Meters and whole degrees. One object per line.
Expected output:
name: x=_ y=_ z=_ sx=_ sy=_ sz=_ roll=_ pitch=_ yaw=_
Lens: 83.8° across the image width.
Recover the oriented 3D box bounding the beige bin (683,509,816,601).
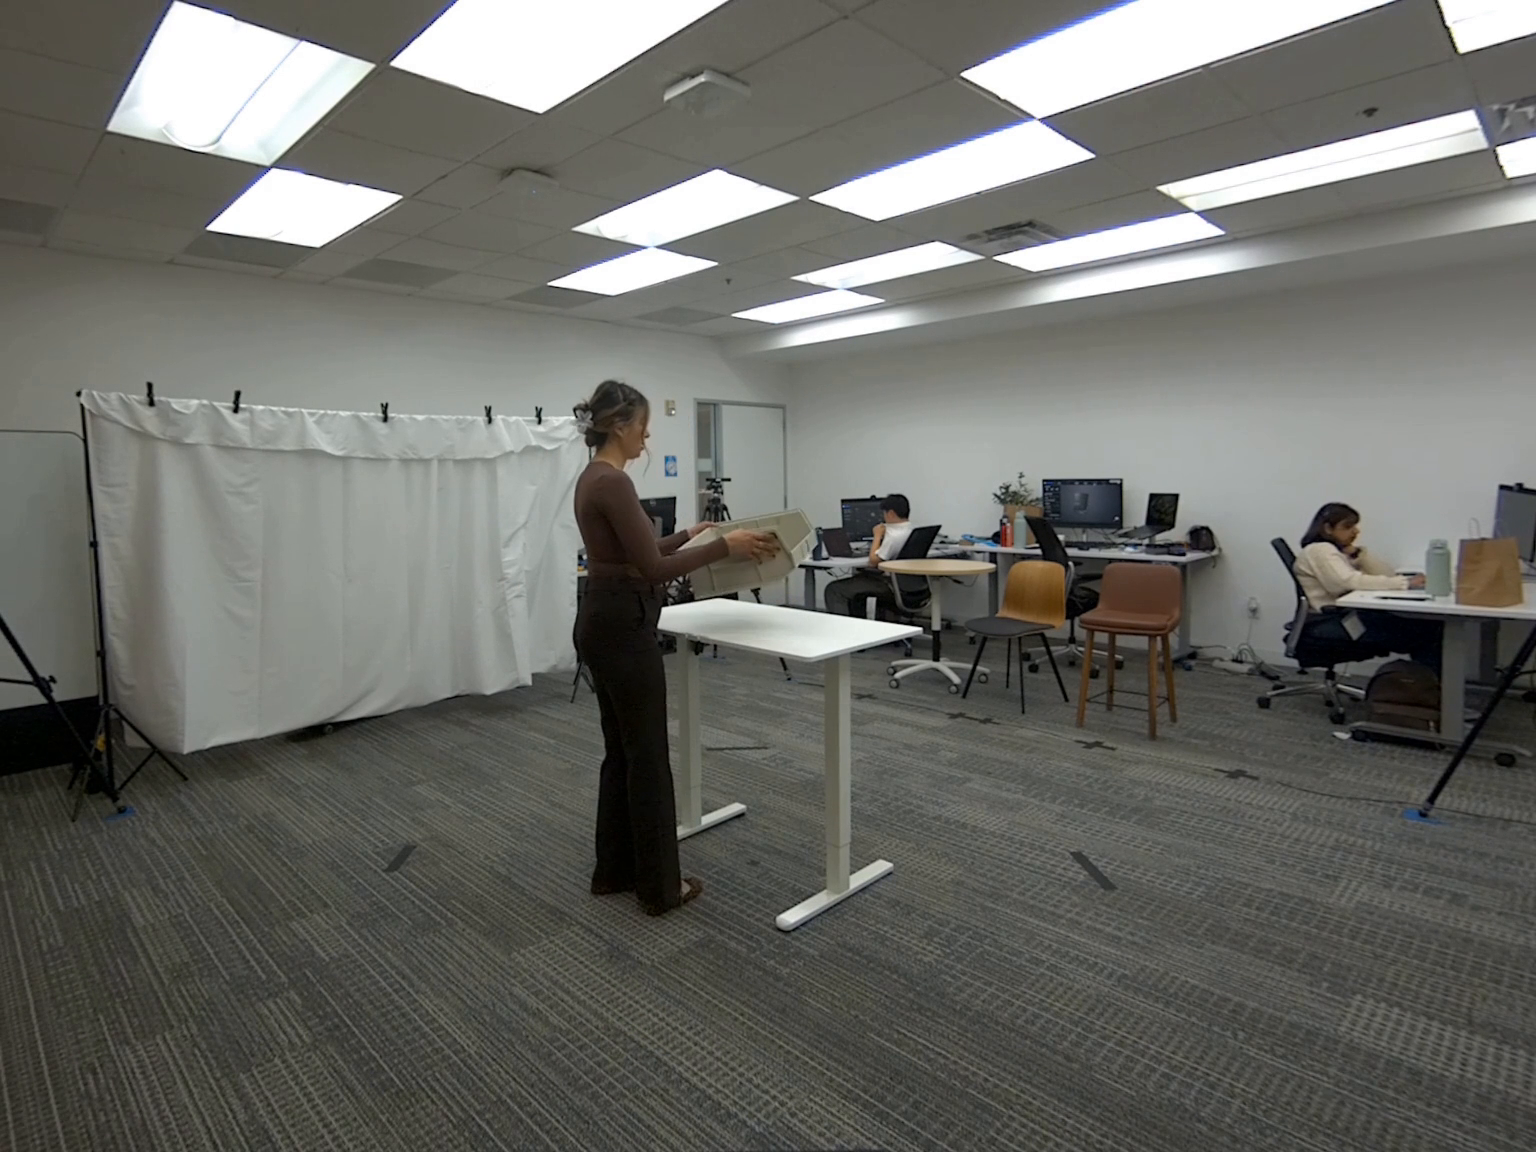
beige bin: x=-0.057 y=-0.083 z=2.966 sx=0.382 sy=0.187 sz=0.421 roll=-12 pitch=10 yaw=17
